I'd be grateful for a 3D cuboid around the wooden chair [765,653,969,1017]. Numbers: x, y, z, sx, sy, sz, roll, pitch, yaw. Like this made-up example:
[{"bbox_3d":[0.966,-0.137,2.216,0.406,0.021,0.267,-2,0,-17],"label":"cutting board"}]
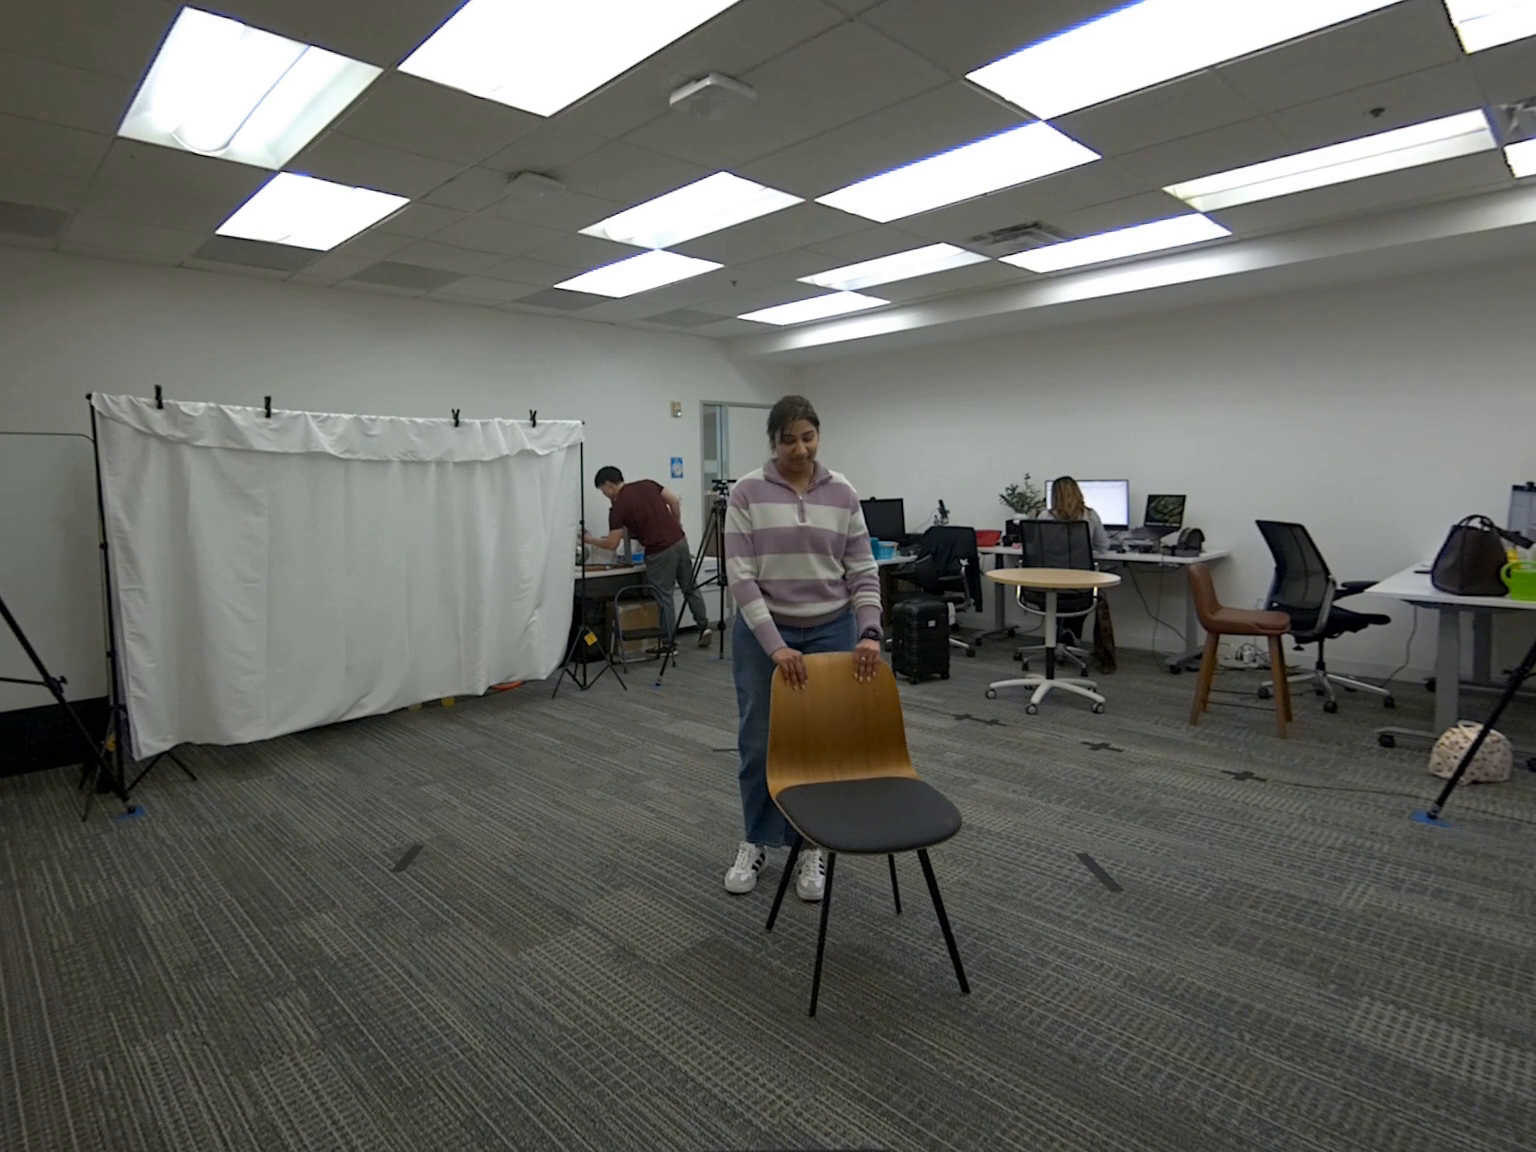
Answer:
[{"bbox_3d":[0.262,0.689,2.439,0.472,0.878,0.529,-2,0,-13],"label":"wooden chair"}]
